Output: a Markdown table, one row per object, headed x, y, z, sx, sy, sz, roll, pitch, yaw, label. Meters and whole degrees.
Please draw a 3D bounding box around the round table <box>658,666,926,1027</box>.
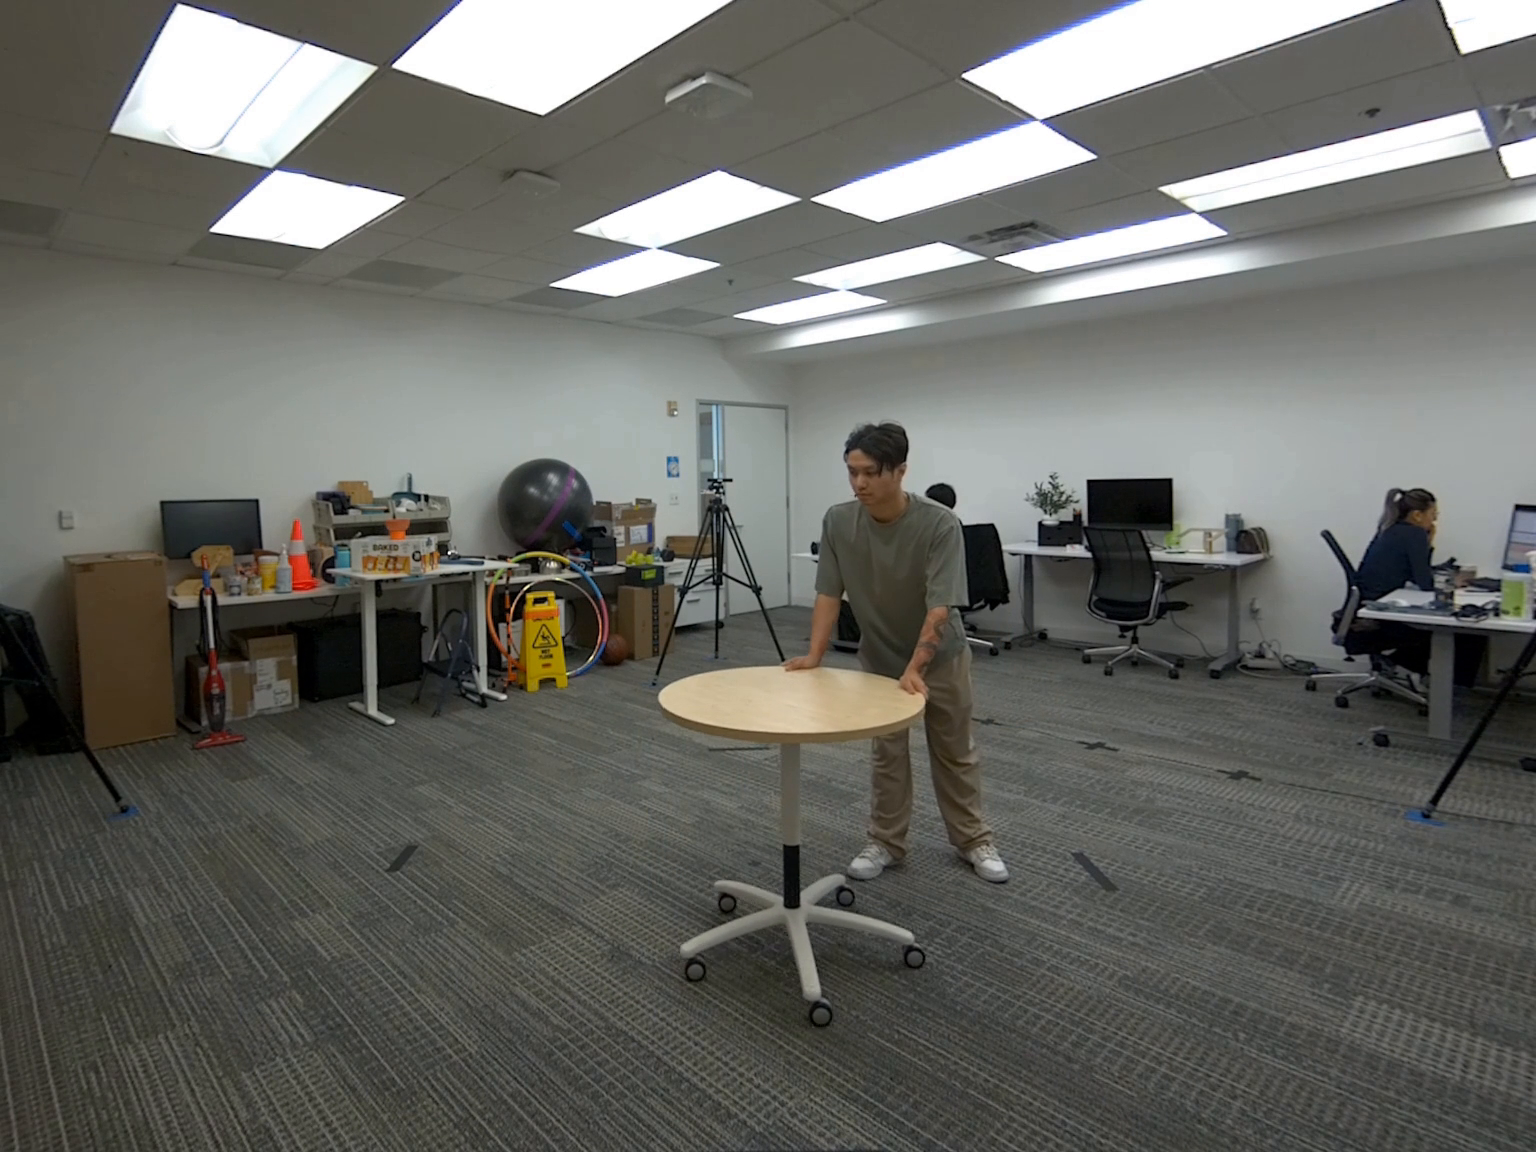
| x | y | z | sx | sy | sz | roll | pitch | yaw | label |
| --- | --- | --- | --- | --- | --- | --- | --- | --- | --- |
| 0.064 | 0.726 | 2.507 | 0.784 | 0.784 | 0.789 | -1 | 5 | -2 | round table |
